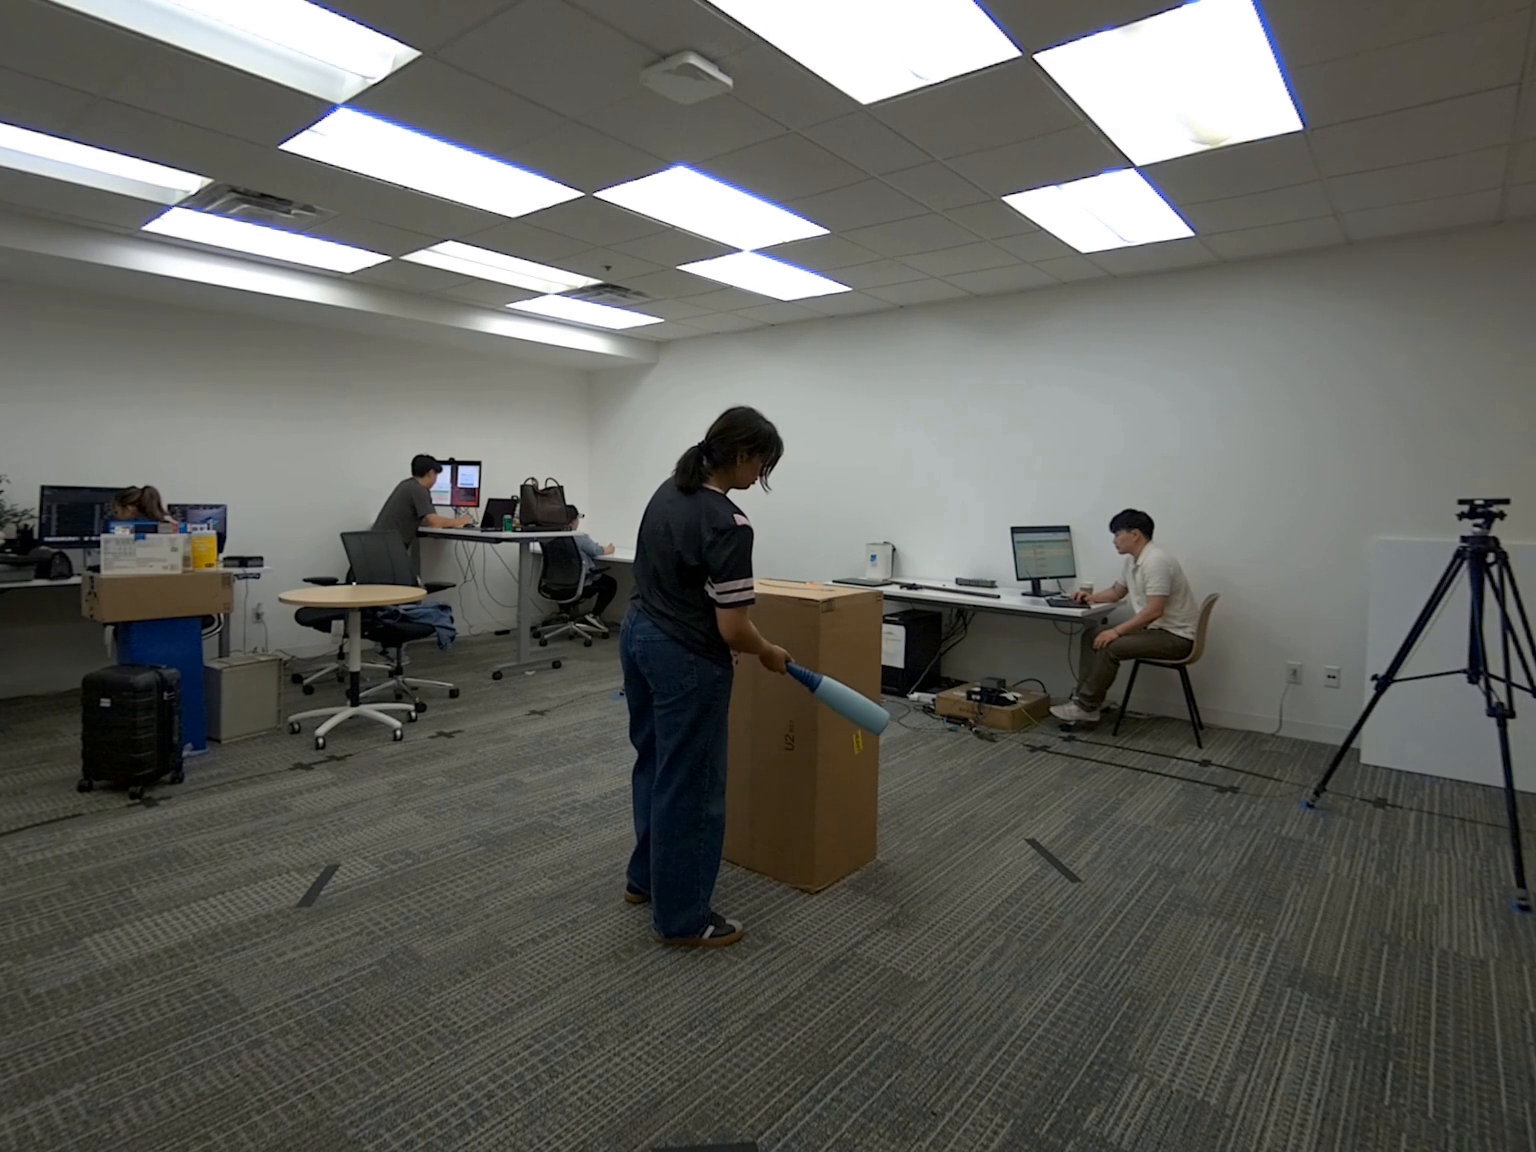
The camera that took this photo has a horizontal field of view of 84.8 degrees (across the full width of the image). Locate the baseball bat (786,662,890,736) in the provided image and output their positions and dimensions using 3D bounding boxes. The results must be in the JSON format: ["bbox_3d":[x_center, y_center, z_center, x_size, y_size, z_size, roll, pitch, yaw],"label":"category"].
[{"bbox_3d":[0.134,0.331,2.710,0.546,0.089,0.089,31,6,4],"label":"baseball bat"}]
